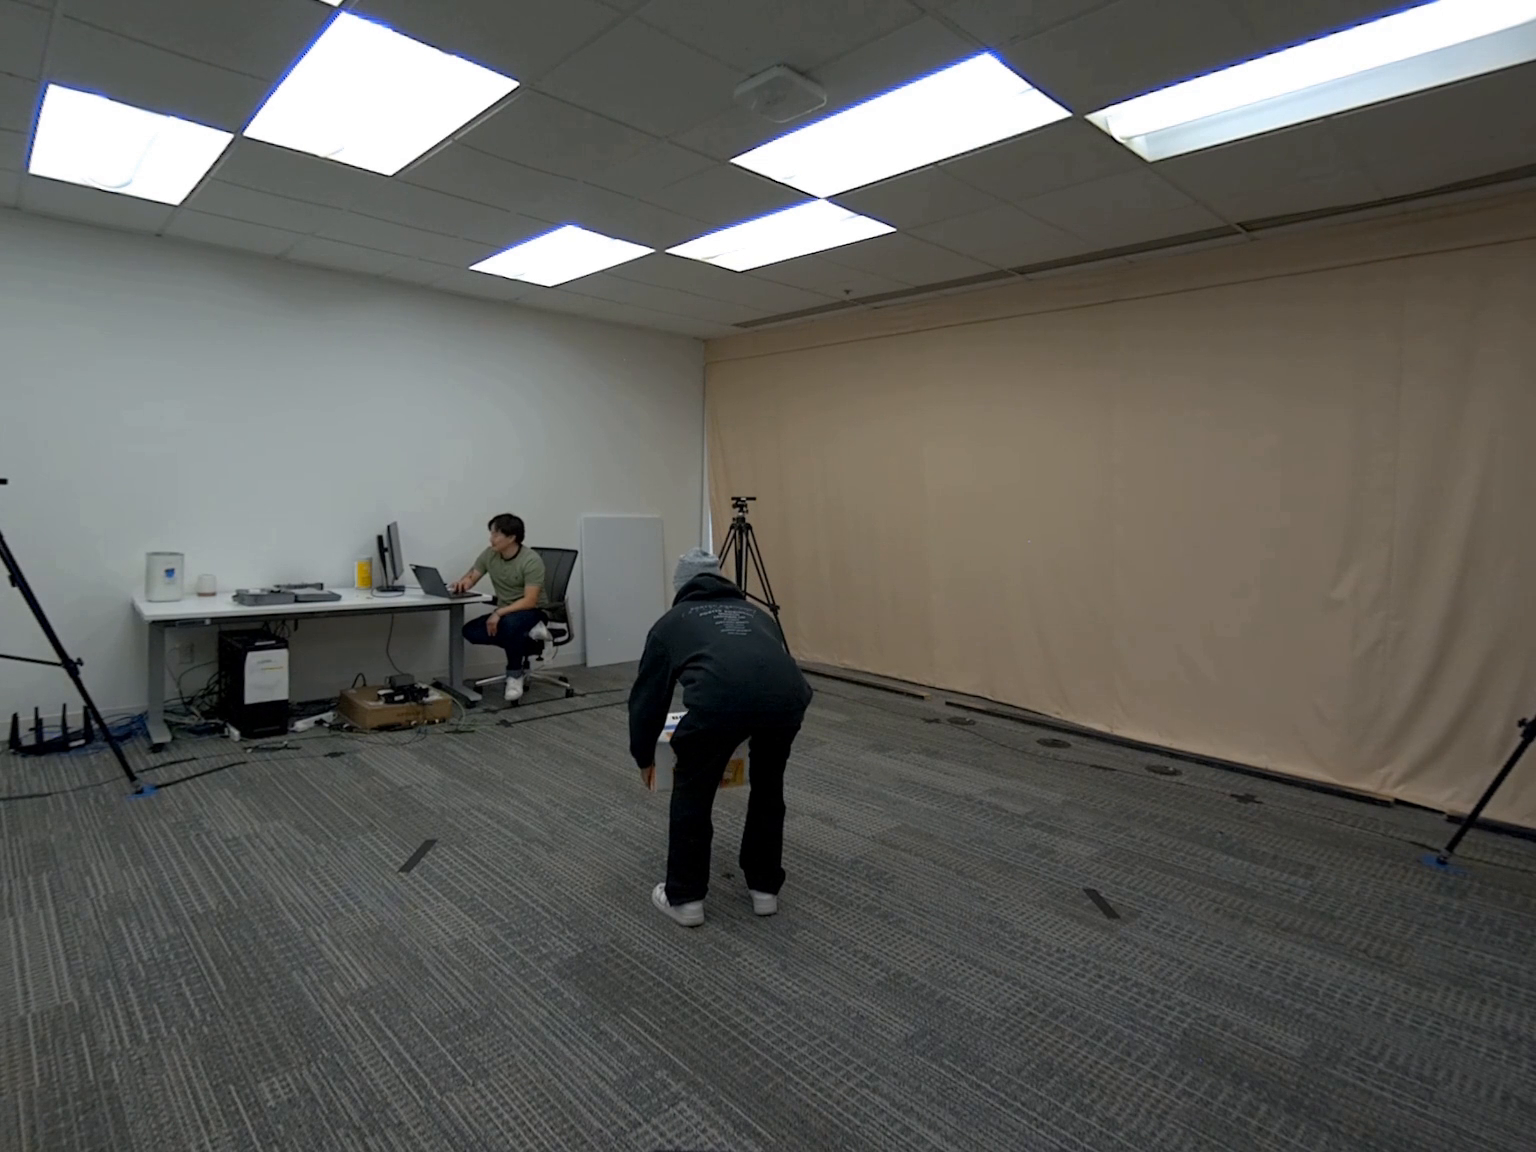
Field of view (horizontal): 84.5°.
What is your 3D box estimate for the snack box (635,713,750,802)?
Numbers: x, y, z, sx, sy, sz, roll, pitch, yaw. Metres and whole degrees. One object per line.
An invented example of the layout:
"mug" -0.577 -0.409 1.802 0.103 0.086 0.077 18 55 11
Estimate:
"snack box" -0.277 0.676 3.257 0.399 0.205 0.347 -2 8 -19
